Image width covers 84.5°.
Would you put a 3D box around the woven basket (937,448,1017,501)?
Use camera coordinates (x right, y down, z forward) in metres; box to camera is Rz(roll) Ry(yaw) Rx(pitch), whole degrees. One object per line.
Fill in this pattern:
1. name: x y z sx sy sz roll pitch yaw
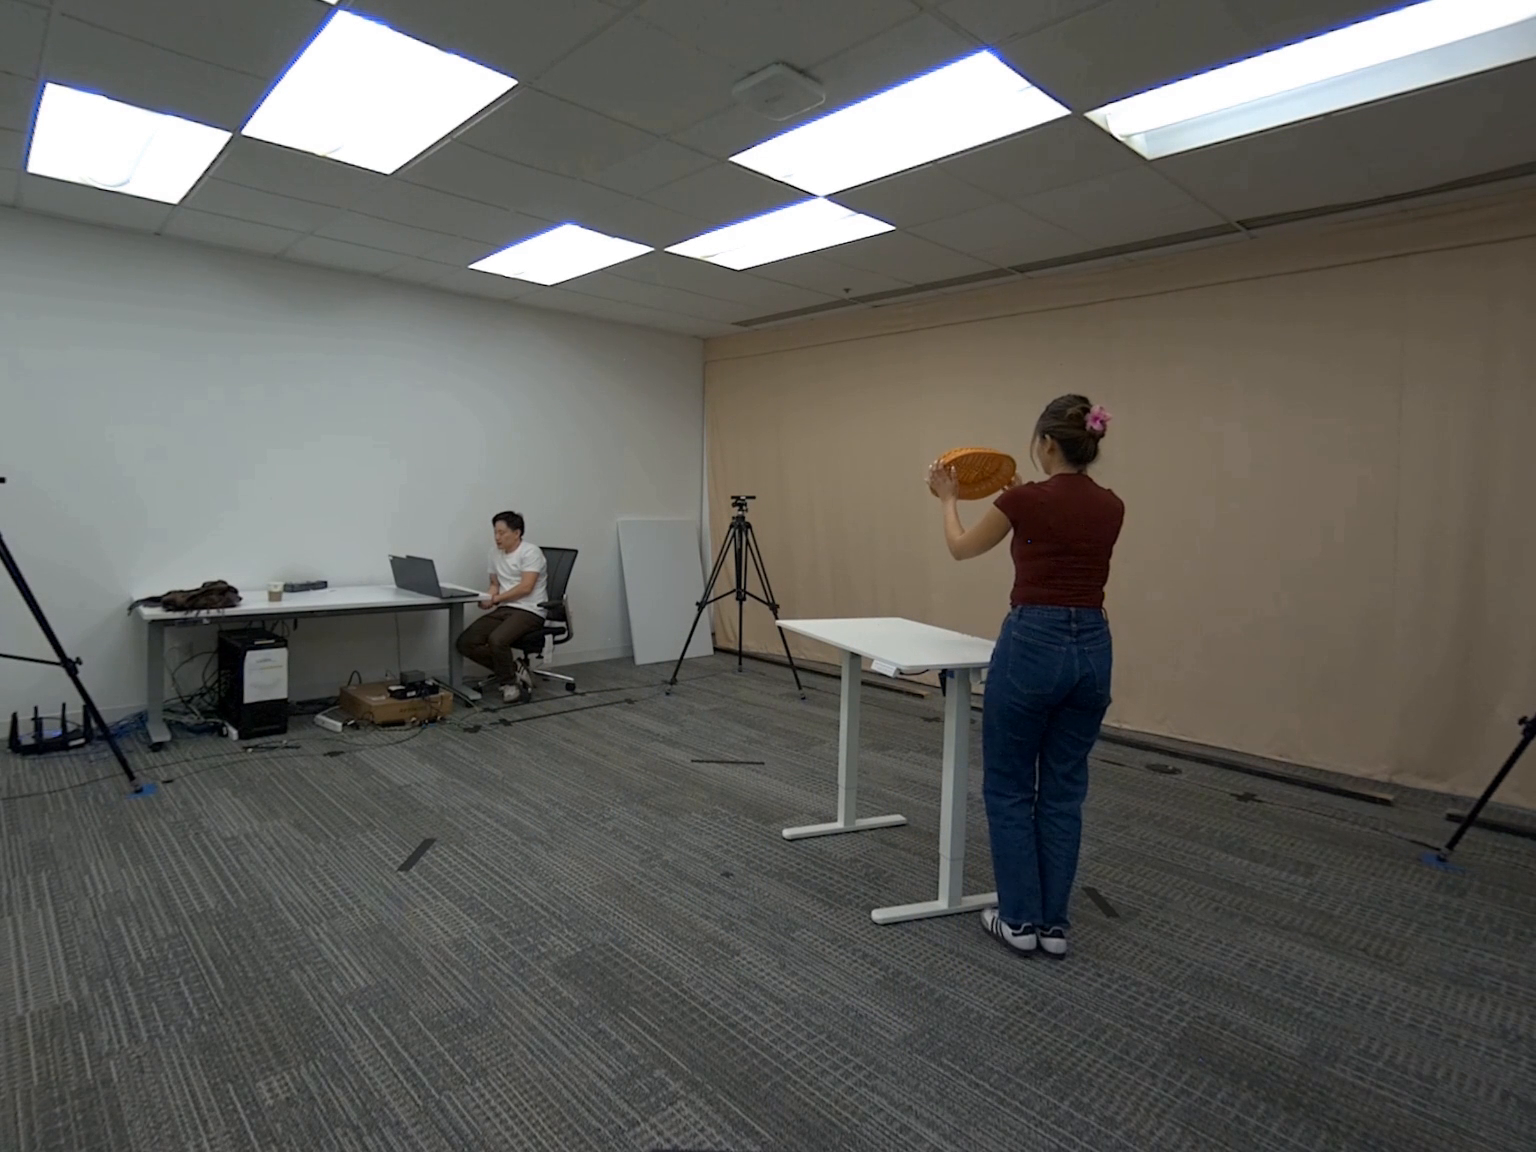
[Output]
1. woven basket: 0.735 -0.382 3.080 0.343 0.075 0.251 4 -40 -28
